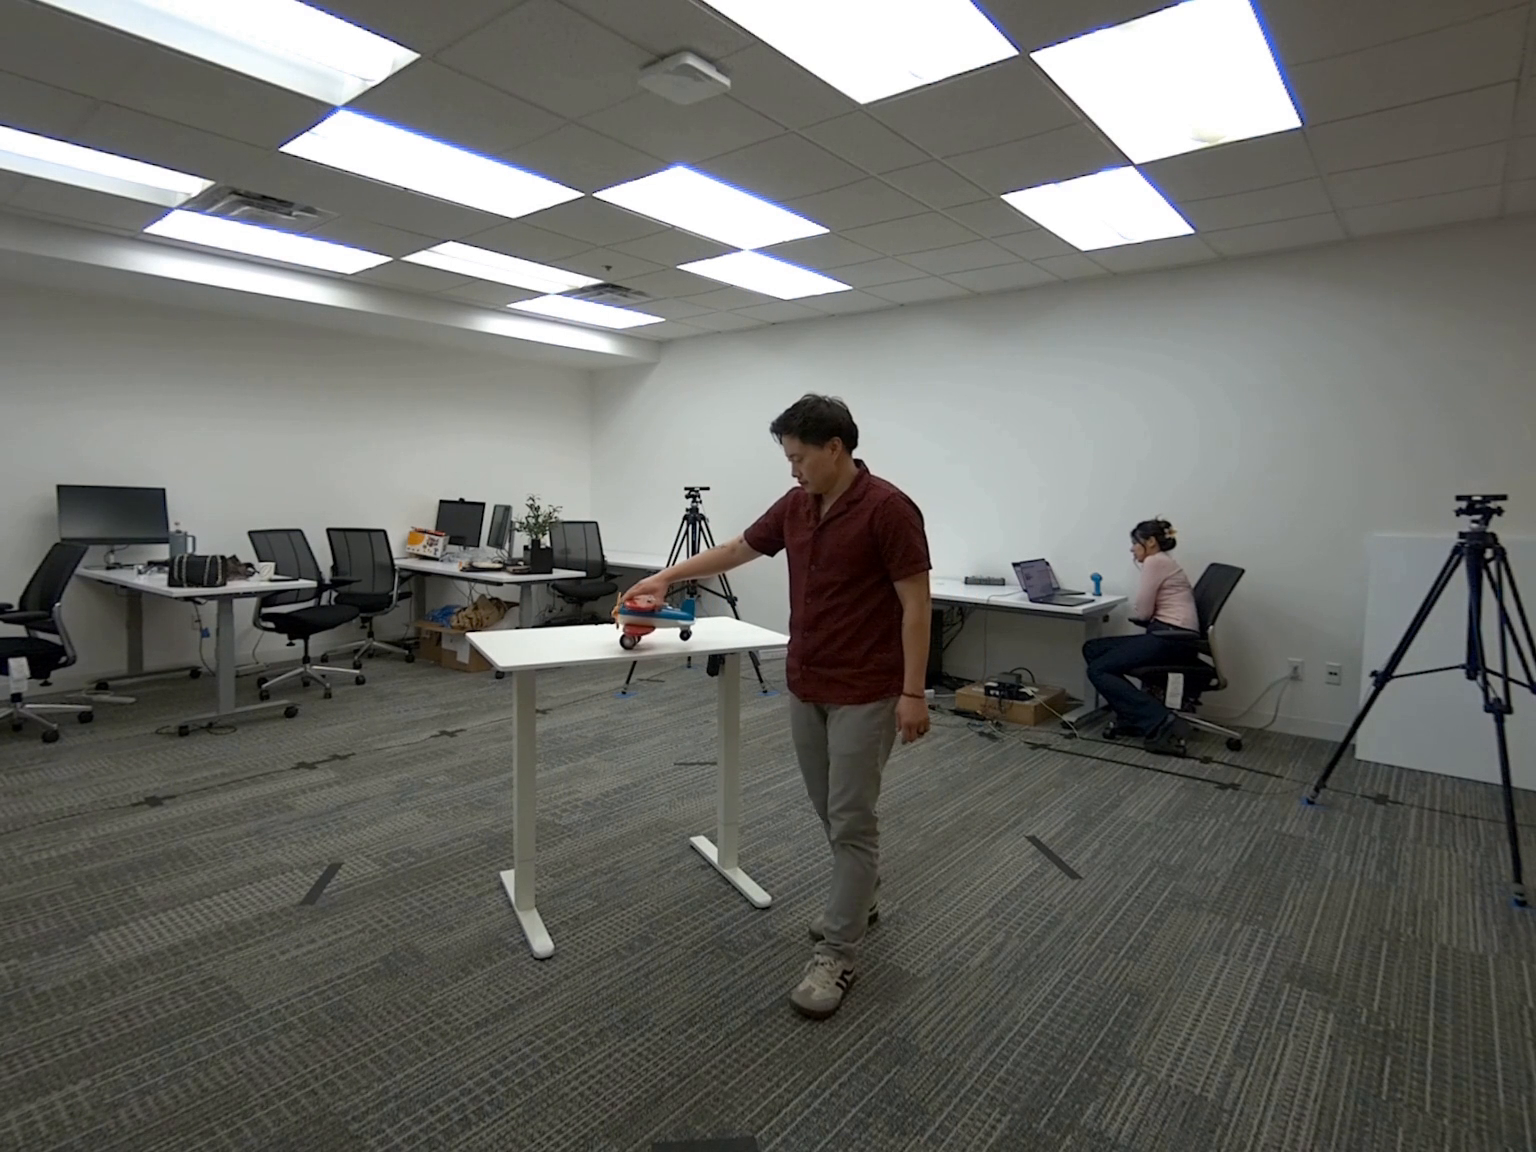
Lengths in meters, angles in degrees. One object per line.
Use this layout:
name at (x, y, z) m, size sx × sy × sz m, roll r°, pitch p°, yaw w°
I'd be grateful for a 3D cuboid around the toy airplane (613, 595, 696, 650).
toy airplane at (-0.369, 0.136, 2.703) m, size 0.254 × 0.156 × 0.257 m, roll -11°, pitch 6°, yaw -24°
